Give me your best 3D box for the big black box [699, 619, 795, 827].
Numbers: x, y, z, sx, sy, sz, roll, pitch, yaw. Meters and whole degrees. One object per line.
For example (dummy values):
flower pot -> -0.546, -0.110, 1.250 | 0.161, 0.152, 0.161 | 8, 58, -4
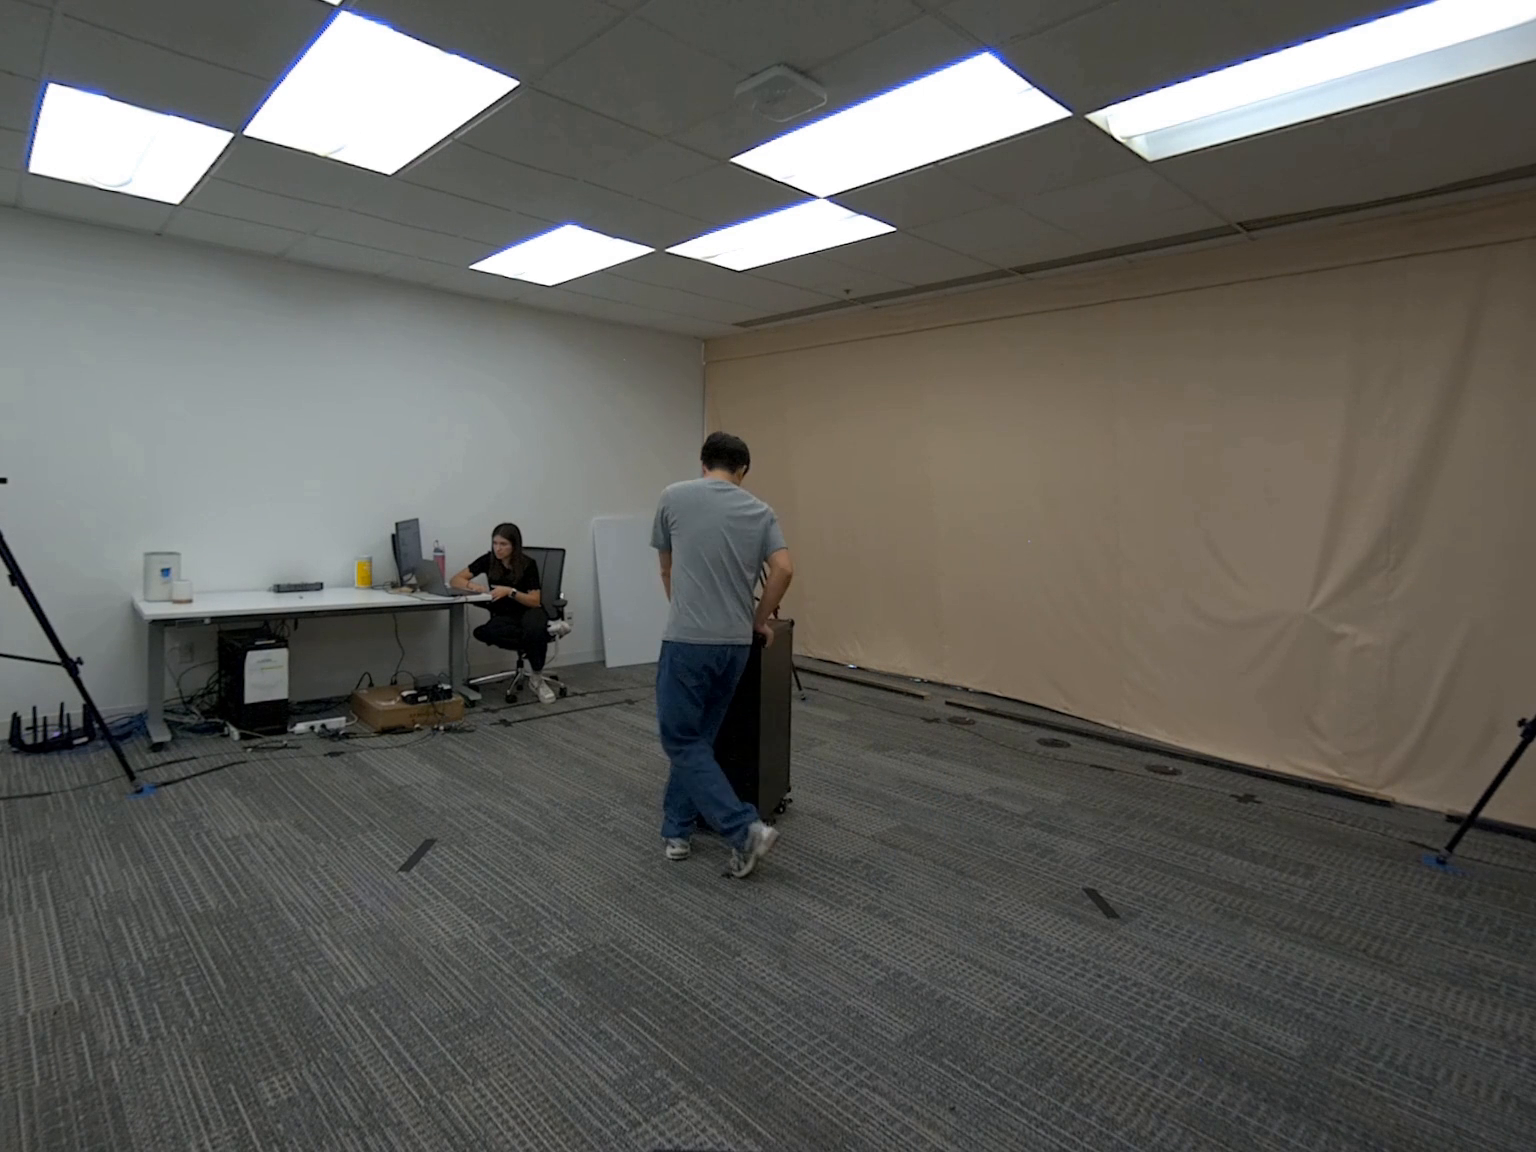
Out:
big black box -> -0.142, 0.637, 3.652 | 0.402, 0.860, 0.514 | 1, 3, 18
